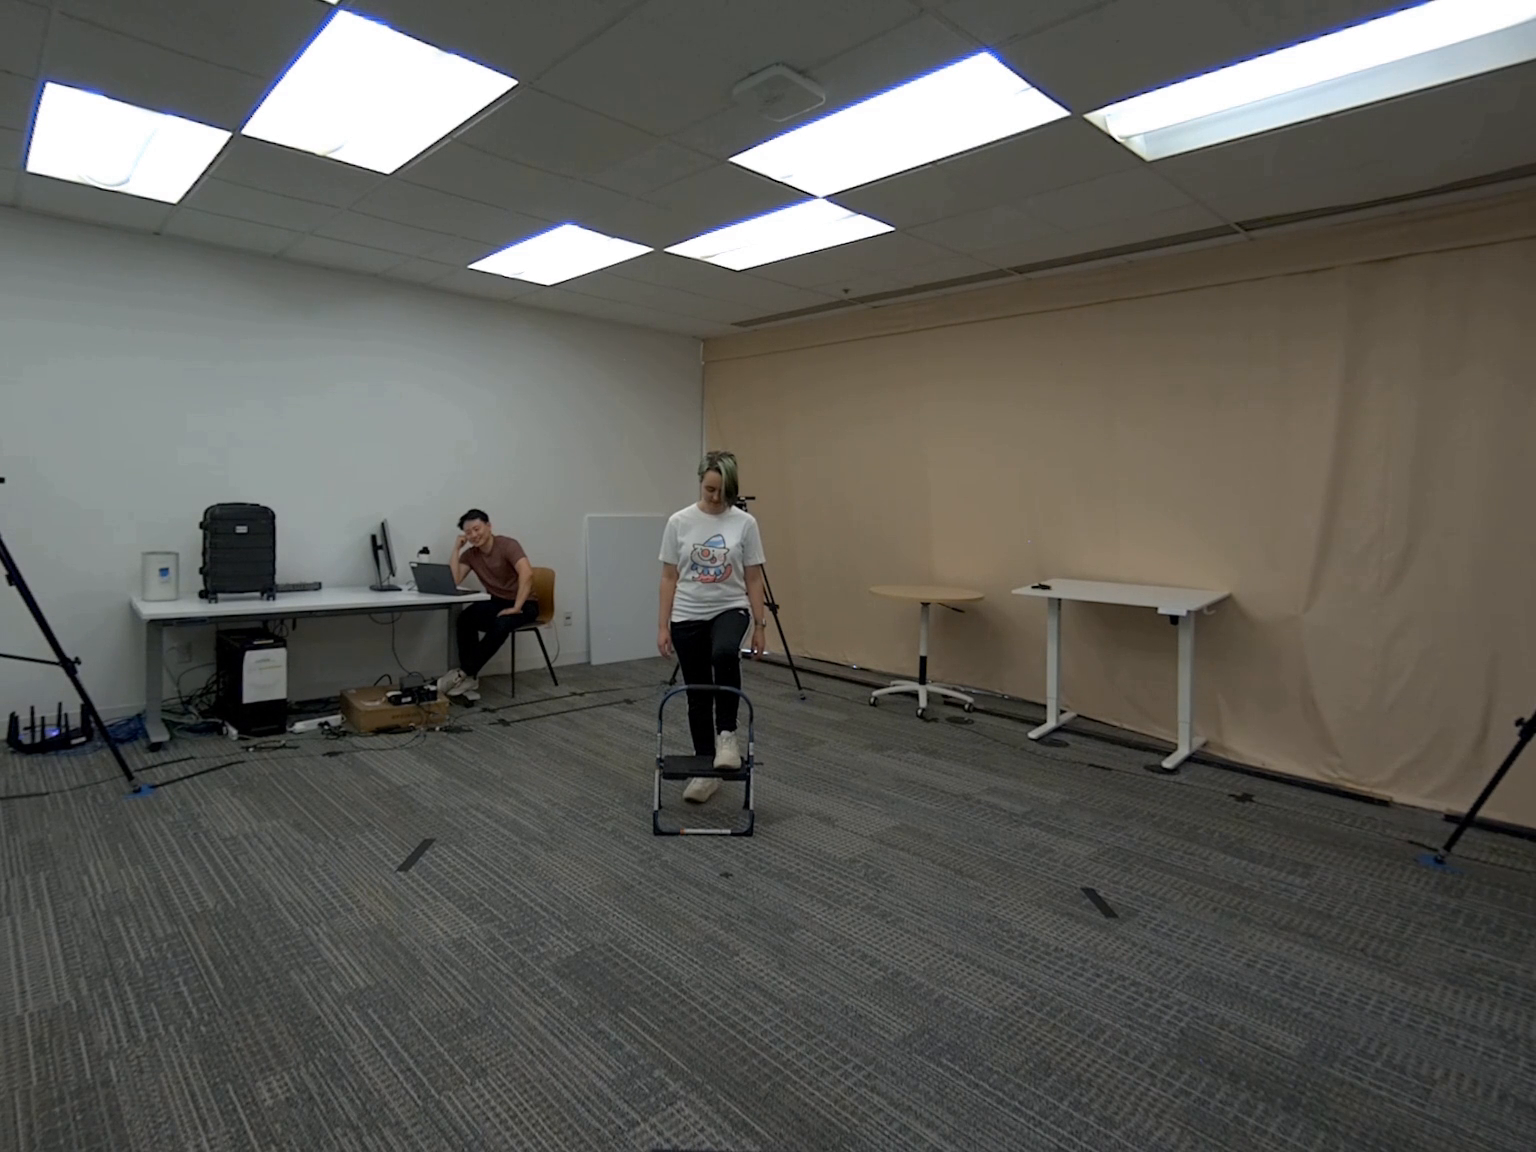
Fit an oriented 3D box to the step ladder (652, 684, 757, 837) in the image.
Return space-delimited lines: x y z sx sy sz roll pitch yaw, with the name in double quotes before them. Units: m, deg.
"step ladder" -0.283 0.758 3.616 0.429 0.605 0.351 1 3 -4
